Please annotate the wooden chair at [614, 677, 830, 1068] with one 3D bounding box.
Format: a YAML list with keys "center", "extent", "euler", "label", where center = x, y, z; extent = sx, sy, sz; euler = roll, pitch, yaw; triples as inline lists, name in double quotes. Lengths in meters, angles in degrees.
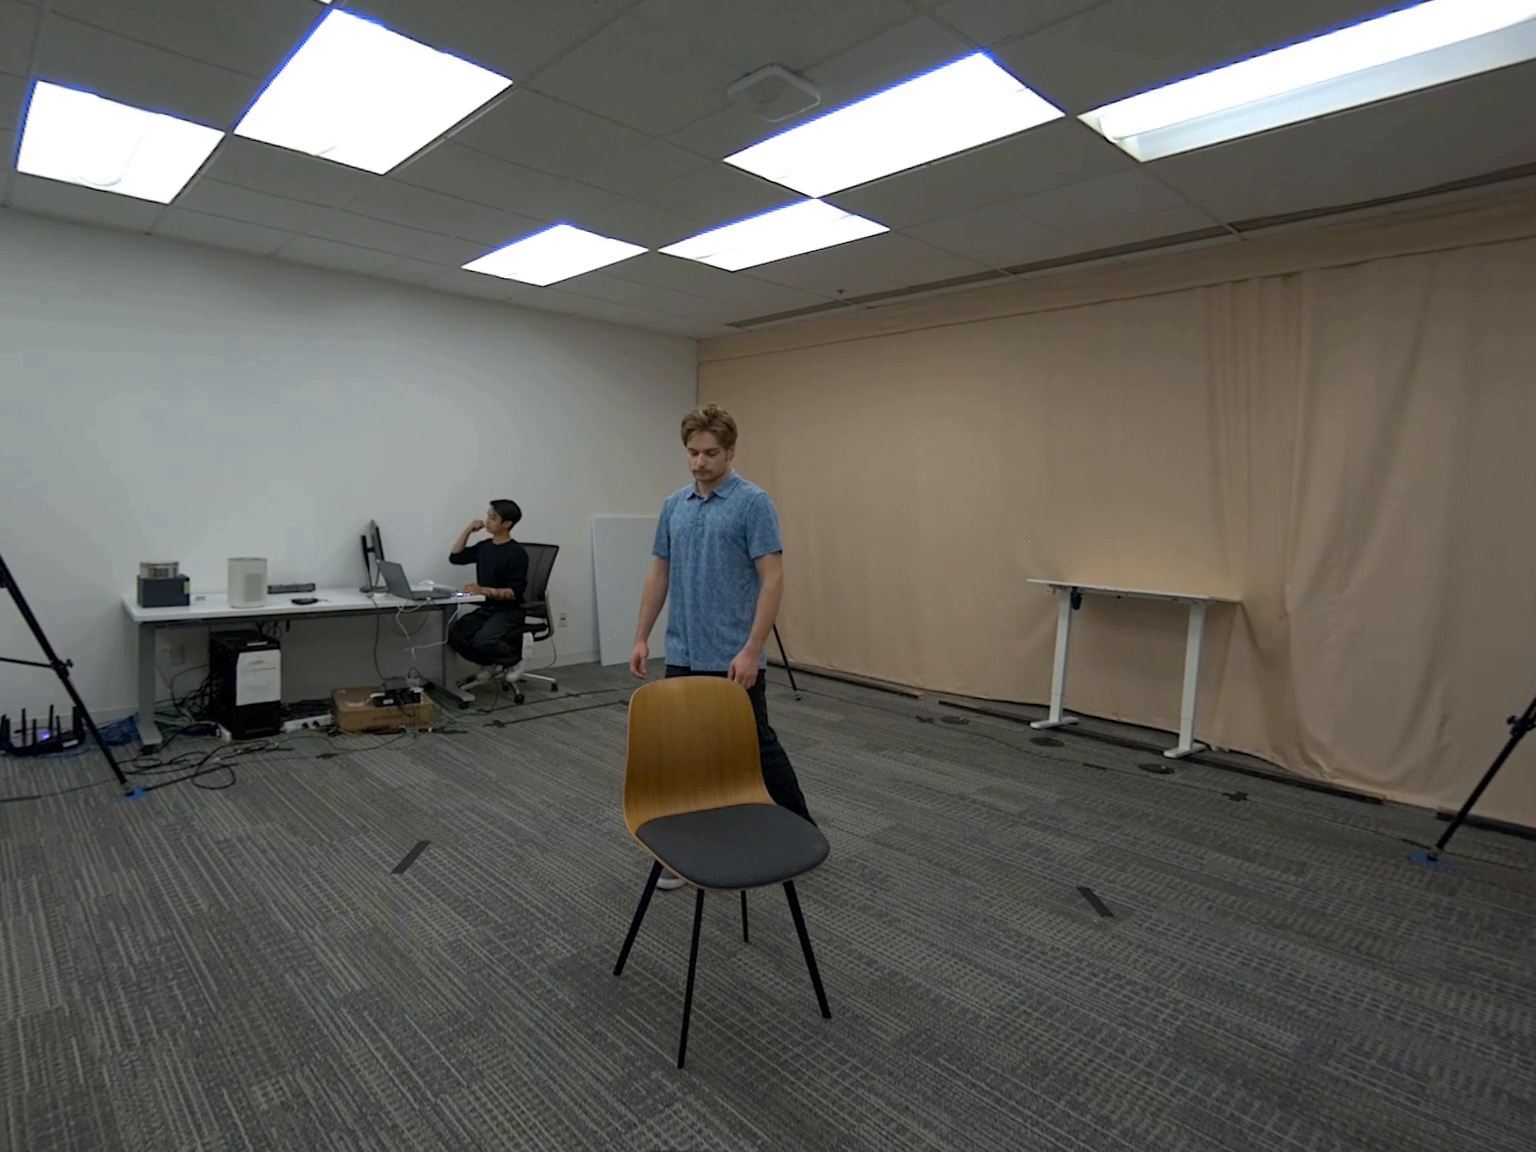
- center: [-0.132, 0.752, 2.310]
  extent: [0.468, 0.877, 0.534]
  euler: [-1, 0, -30]
  label: "wooden chair"
